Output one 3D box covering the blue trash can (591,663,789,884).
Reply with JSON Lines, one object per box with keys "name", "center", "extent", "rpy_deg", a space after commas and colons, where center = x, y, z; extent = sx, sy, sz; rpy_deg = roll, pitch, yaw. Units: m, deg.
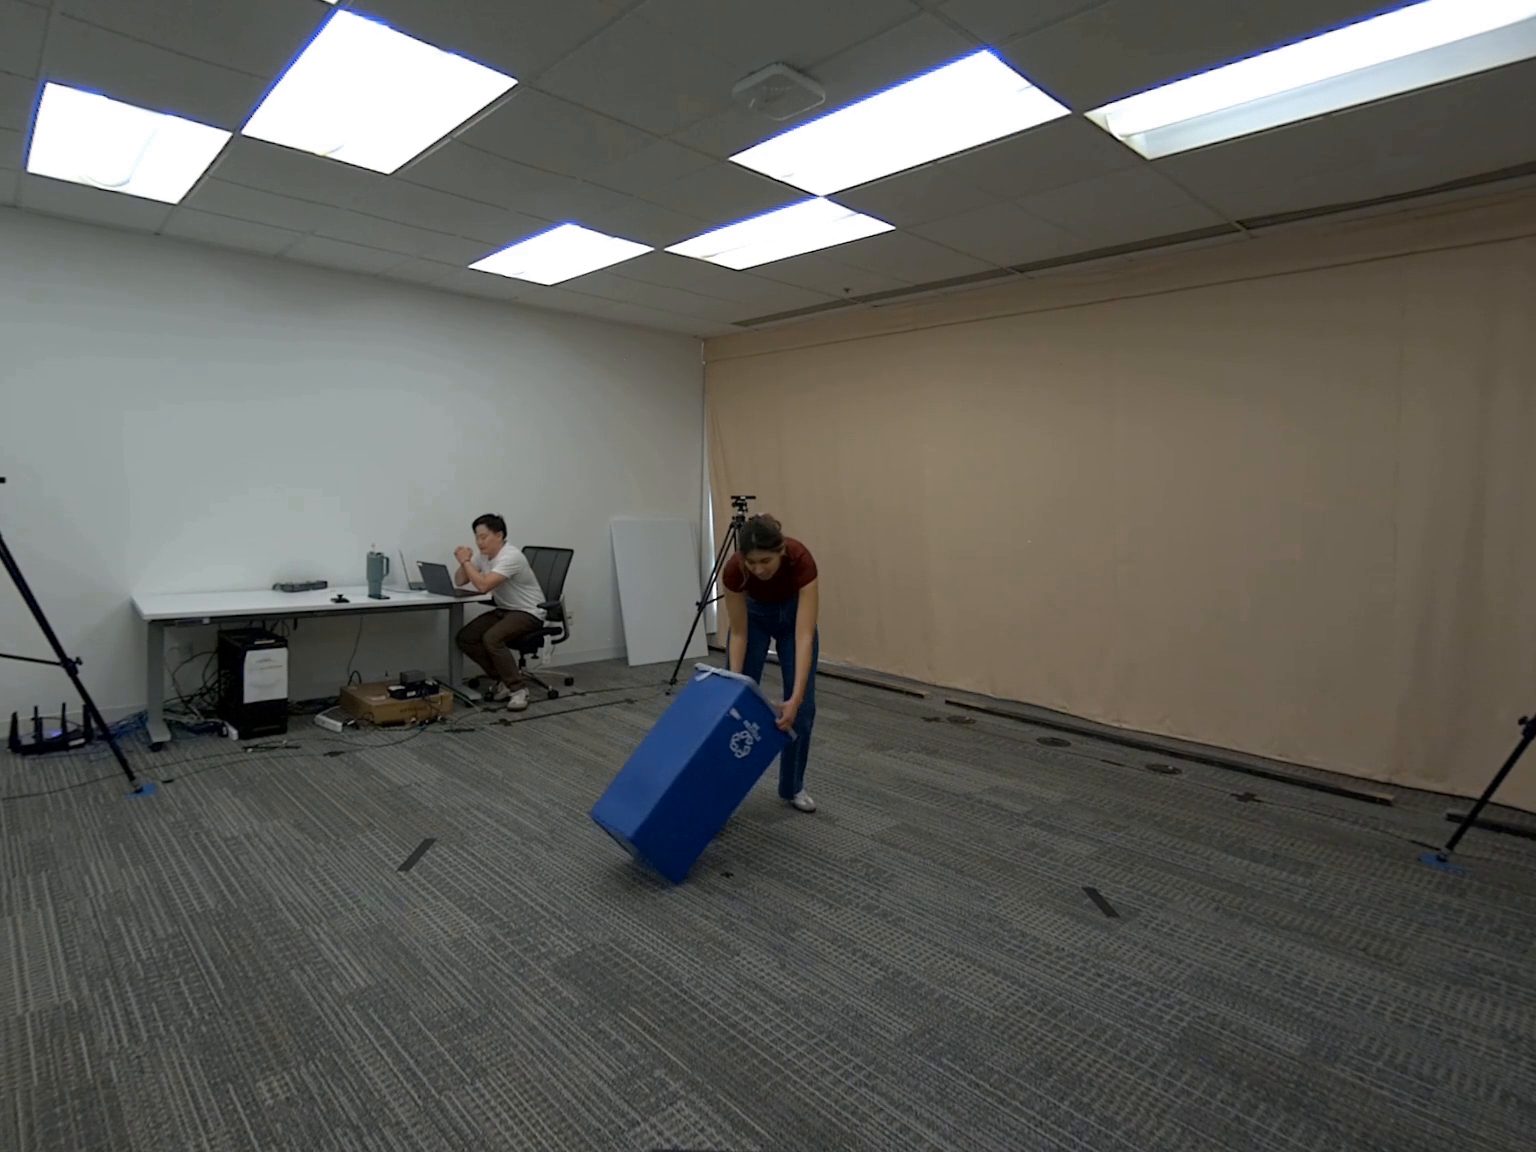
{"name": "blue trash can", "center": [-0.291, 0.741, 3.192], "extent": [0.387, 0.714, 0.364], "rpy_deg": [6, -39, 51]}
